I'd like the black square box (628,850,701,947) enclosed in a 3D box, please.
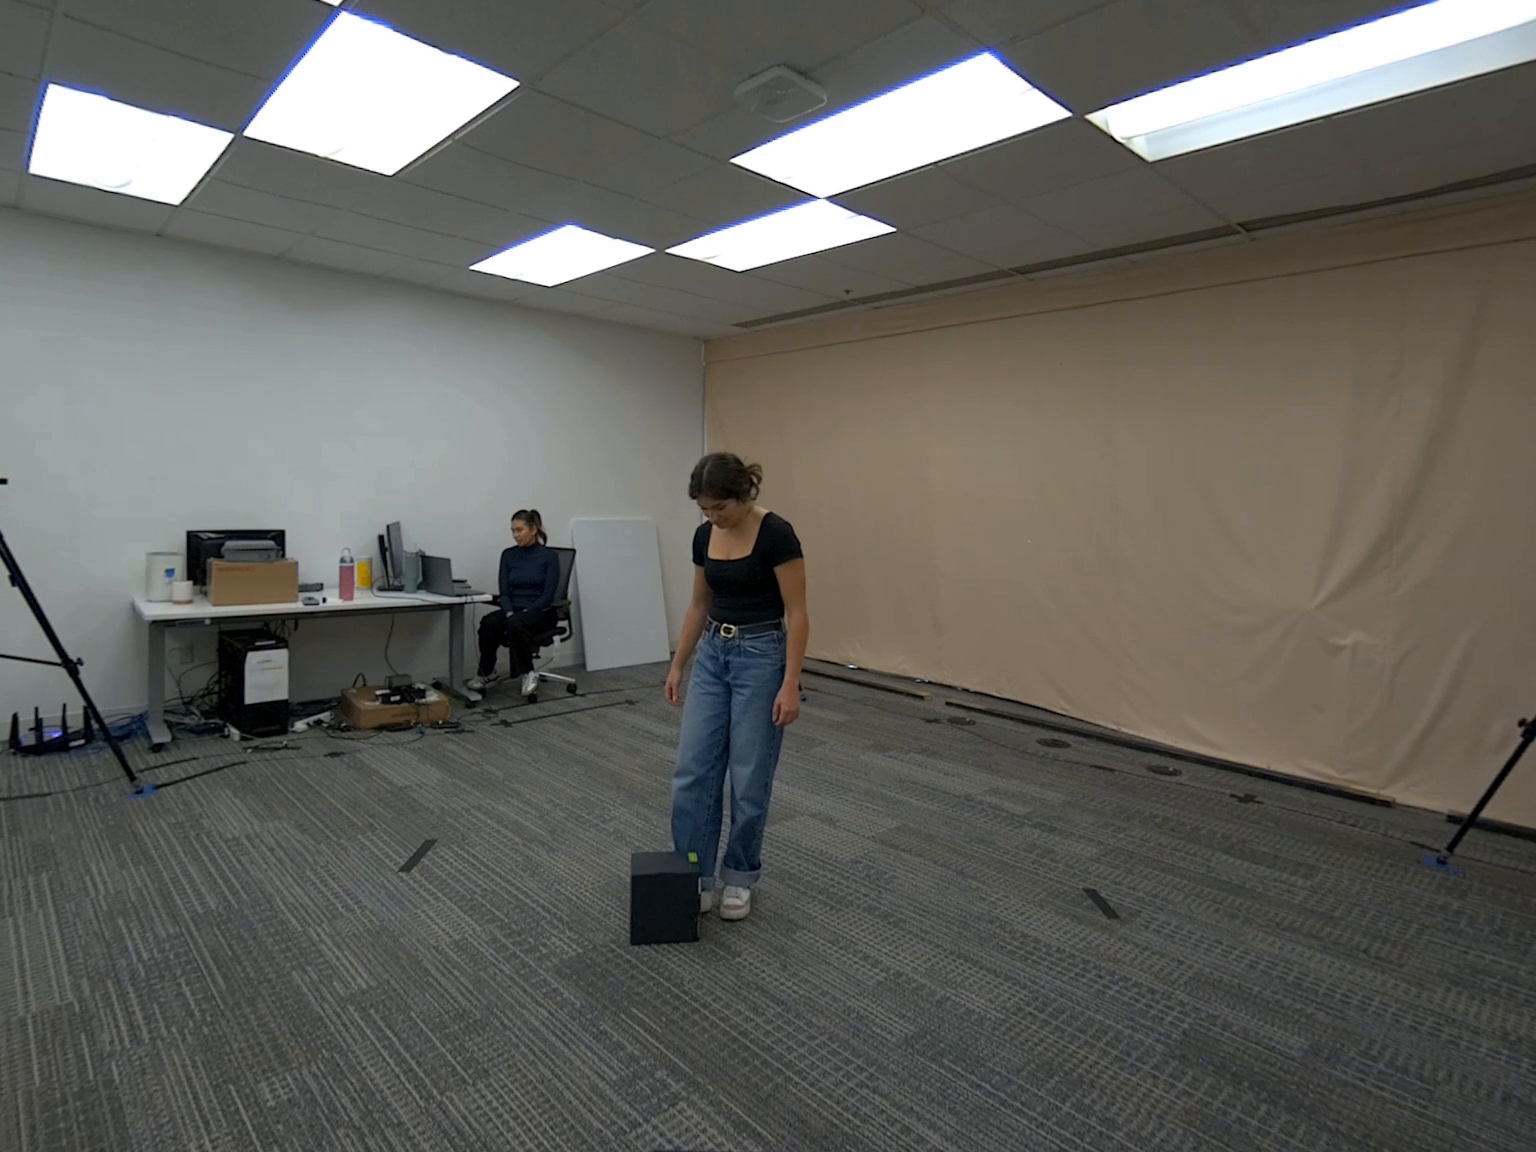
[{"bbox_3d":[-0.338,1.023,2.679,0.215,0.227,0.157,1,5,-9],"label":"black square box"}]
